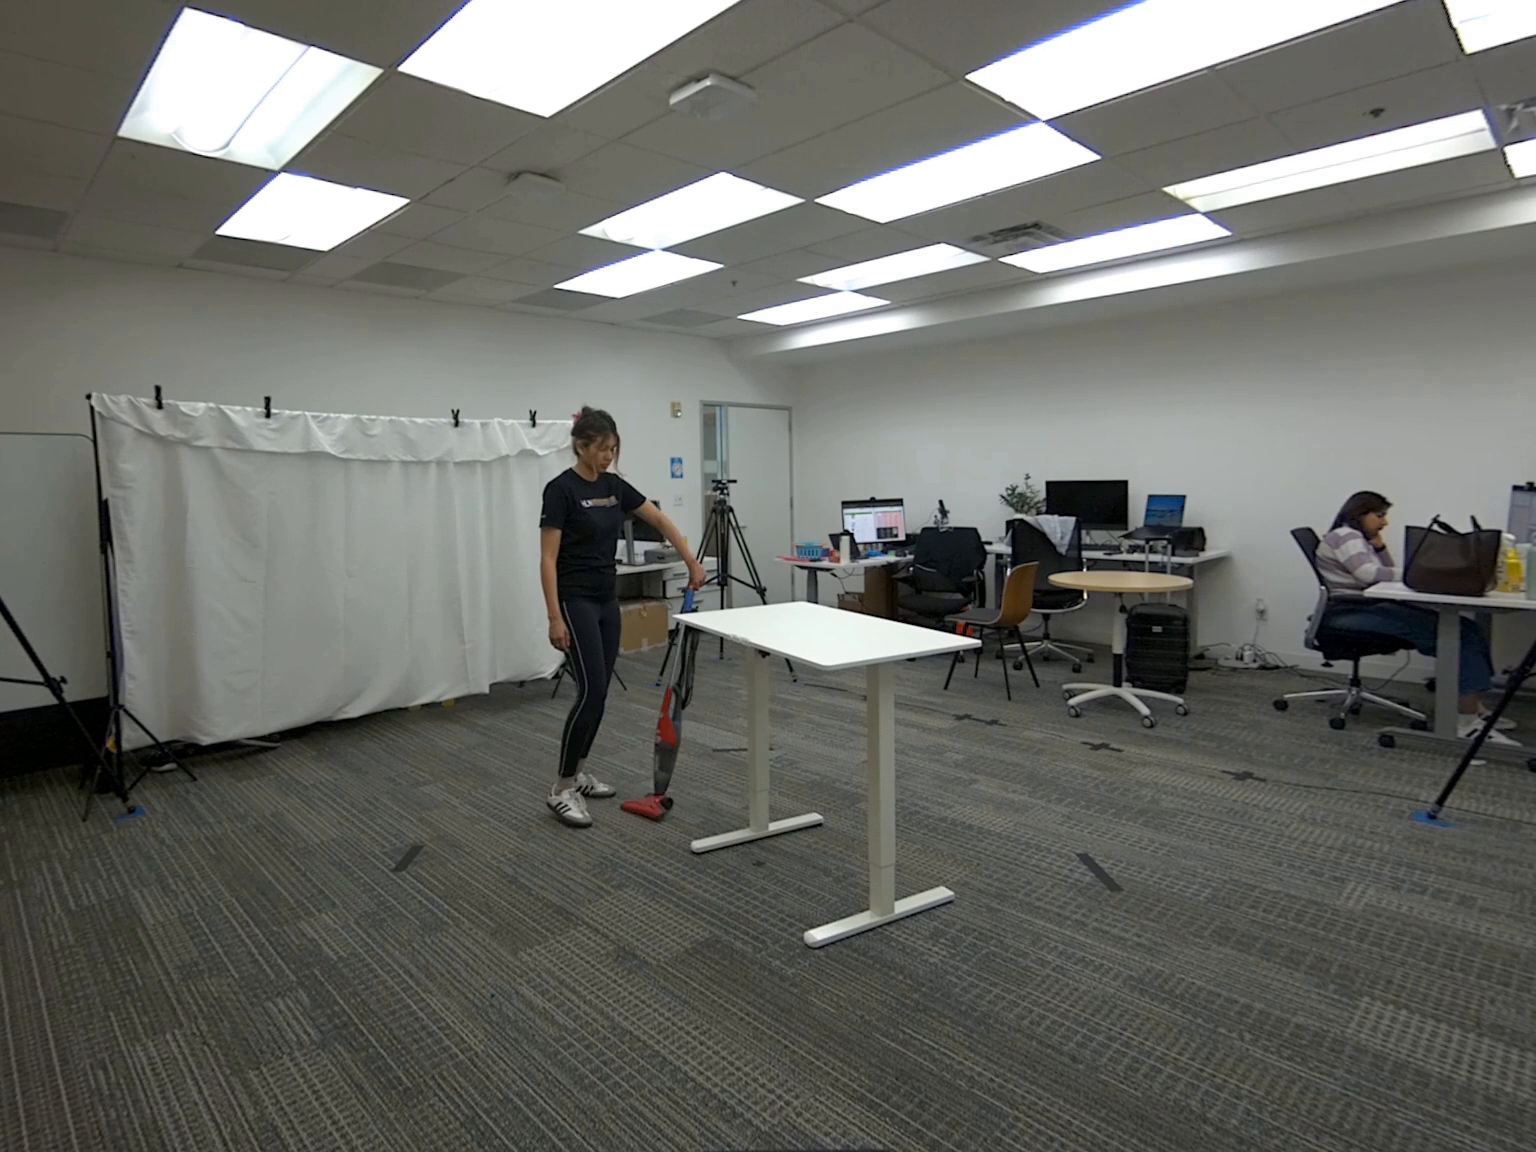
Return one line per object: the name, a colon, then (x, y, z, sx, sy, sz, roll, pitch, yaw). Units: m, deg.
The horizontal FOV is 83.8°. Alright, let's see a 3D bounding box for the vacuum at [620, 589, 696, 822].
vacuum: (-0.396, 0.497, 3.774, 0.260, 1.061, 0.138, -2, -23, 41)
